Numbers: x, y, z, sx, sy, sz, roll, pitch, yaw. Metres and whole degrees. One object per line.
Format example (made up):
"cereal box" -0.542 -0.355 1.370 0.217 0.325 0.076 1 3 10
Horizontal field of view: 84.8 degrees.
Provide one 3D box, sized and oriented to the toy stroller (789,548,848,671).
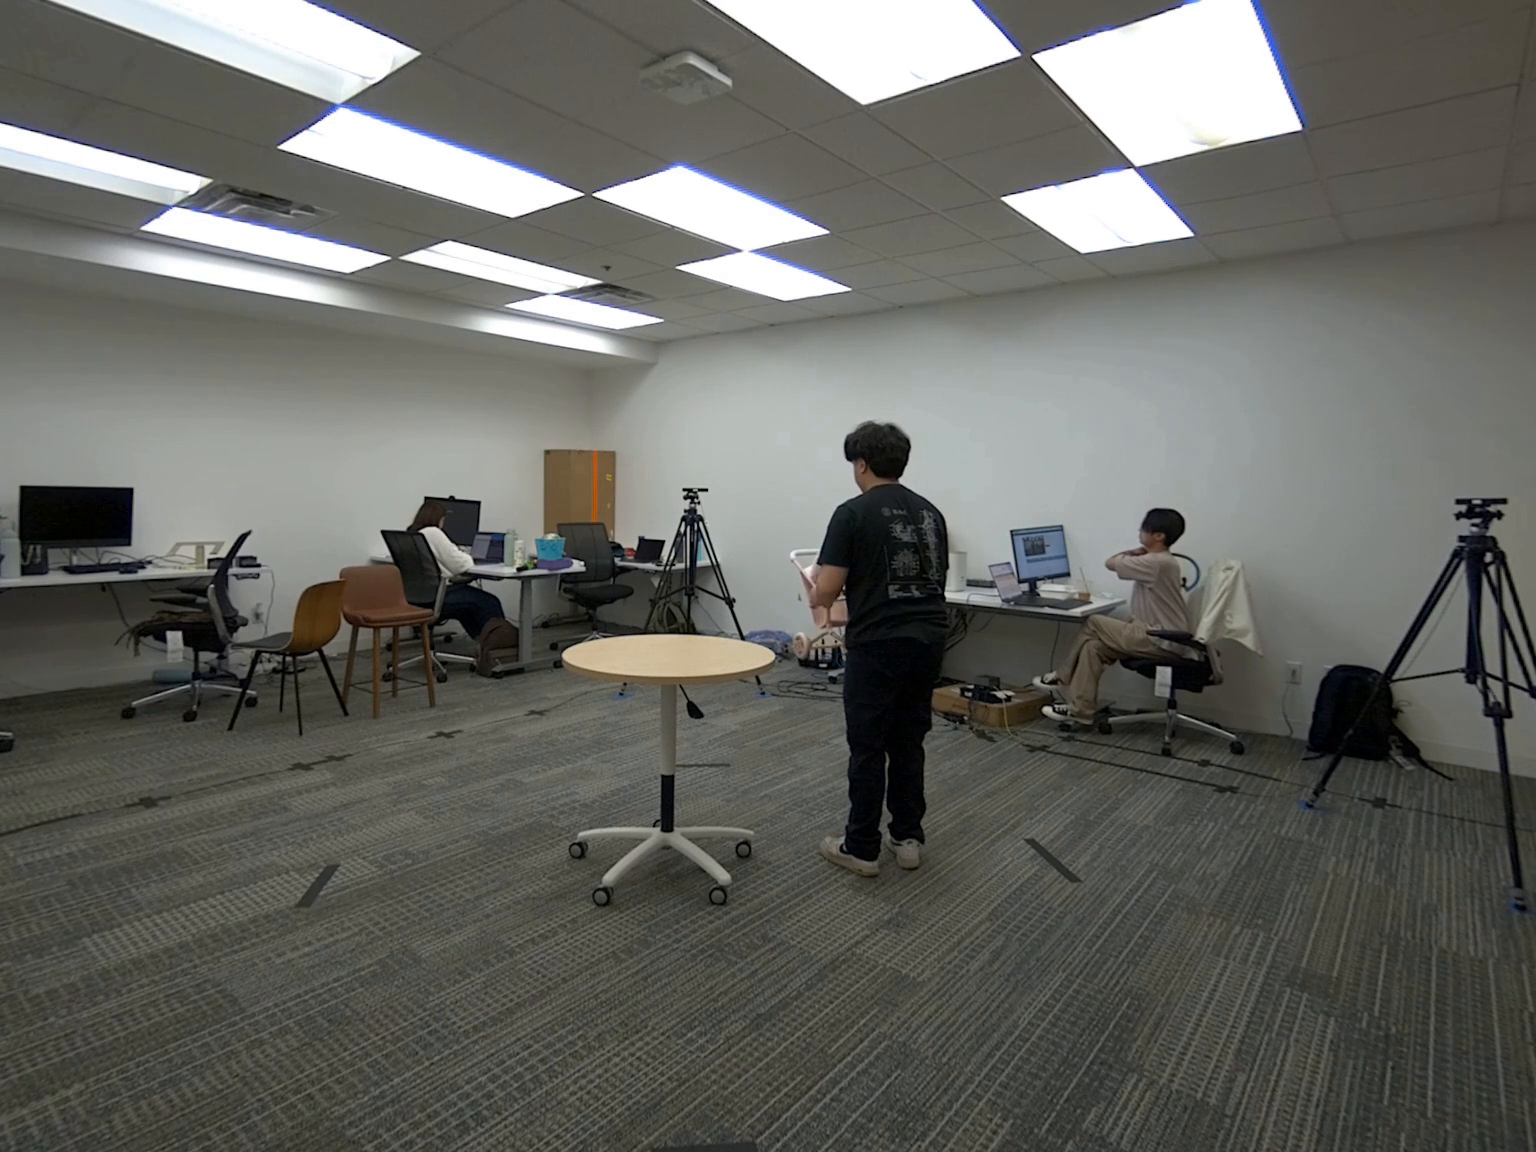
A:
"toy stroller" 0.271 0.118 3.525 0.275 0.542 0.345 -2 -13 -26
